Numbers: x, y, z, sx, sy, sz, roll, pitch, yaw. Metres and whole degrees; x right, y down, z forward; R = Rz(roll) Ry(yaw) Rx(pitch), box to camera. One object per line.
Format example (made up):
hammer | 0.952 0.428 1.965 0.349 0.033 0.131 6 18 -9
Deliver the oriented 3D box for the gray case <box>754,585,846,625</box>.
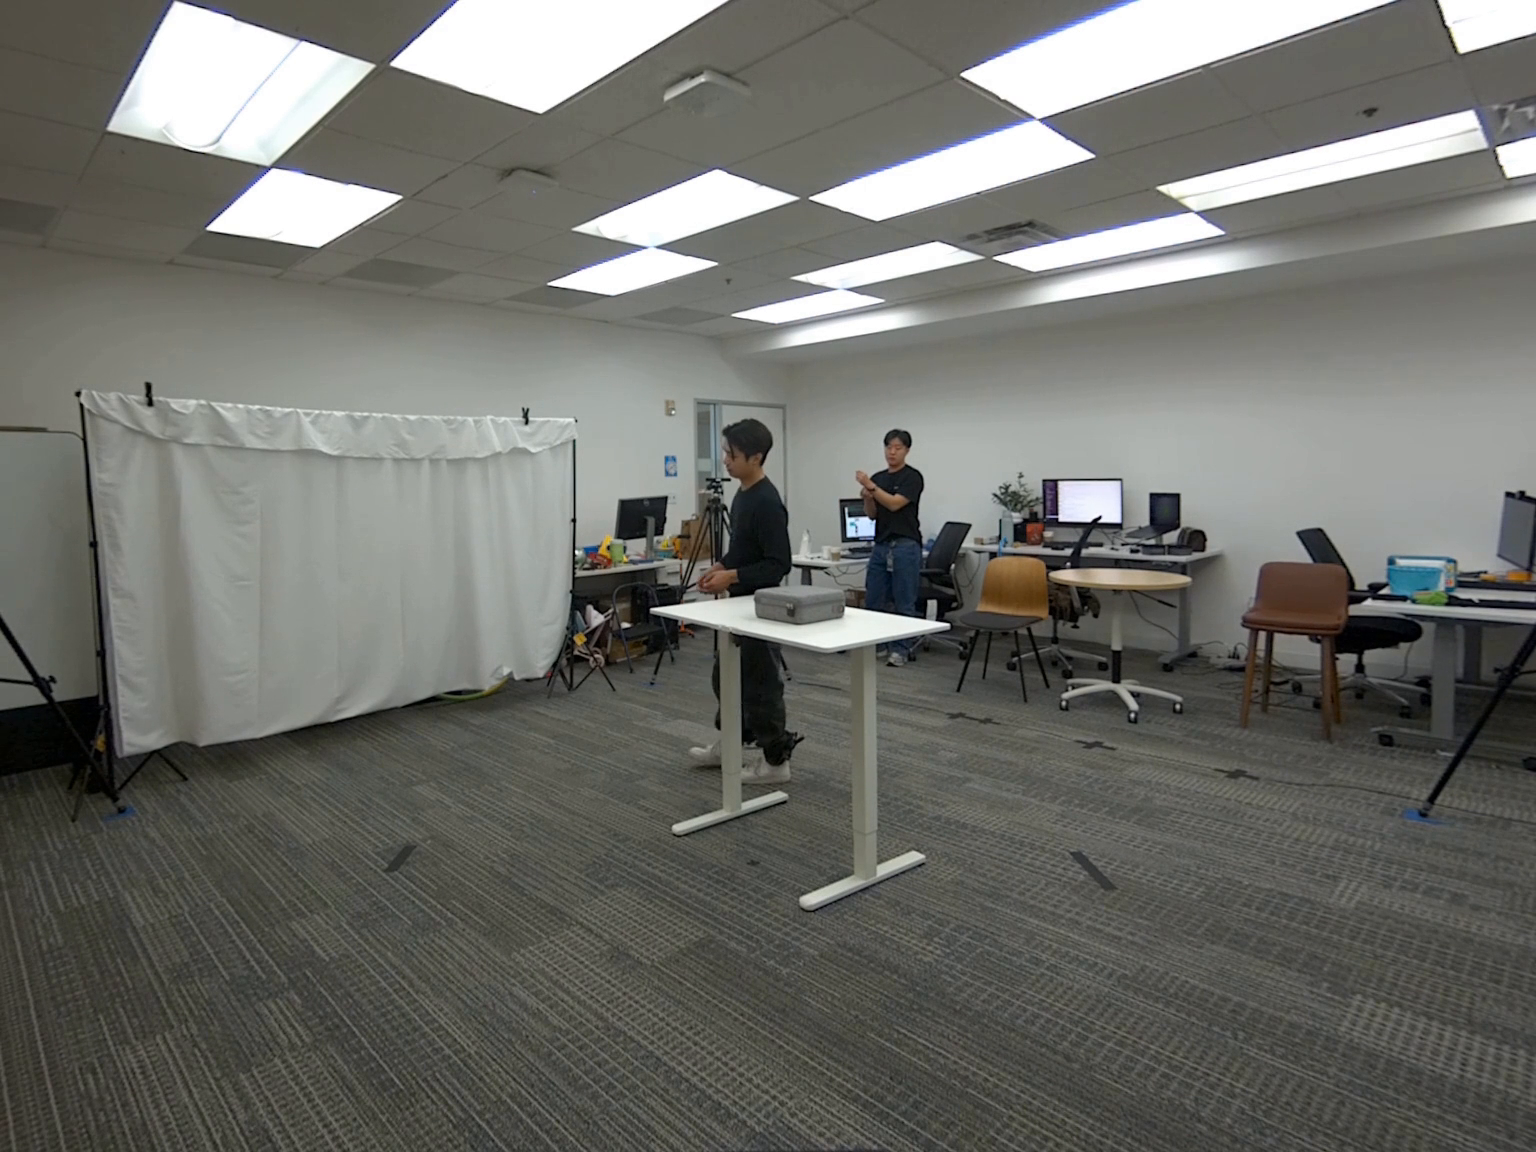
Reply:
gray case | 0.117 0.101 3.136 0.254 0.104 0.265 -7 8 -42
